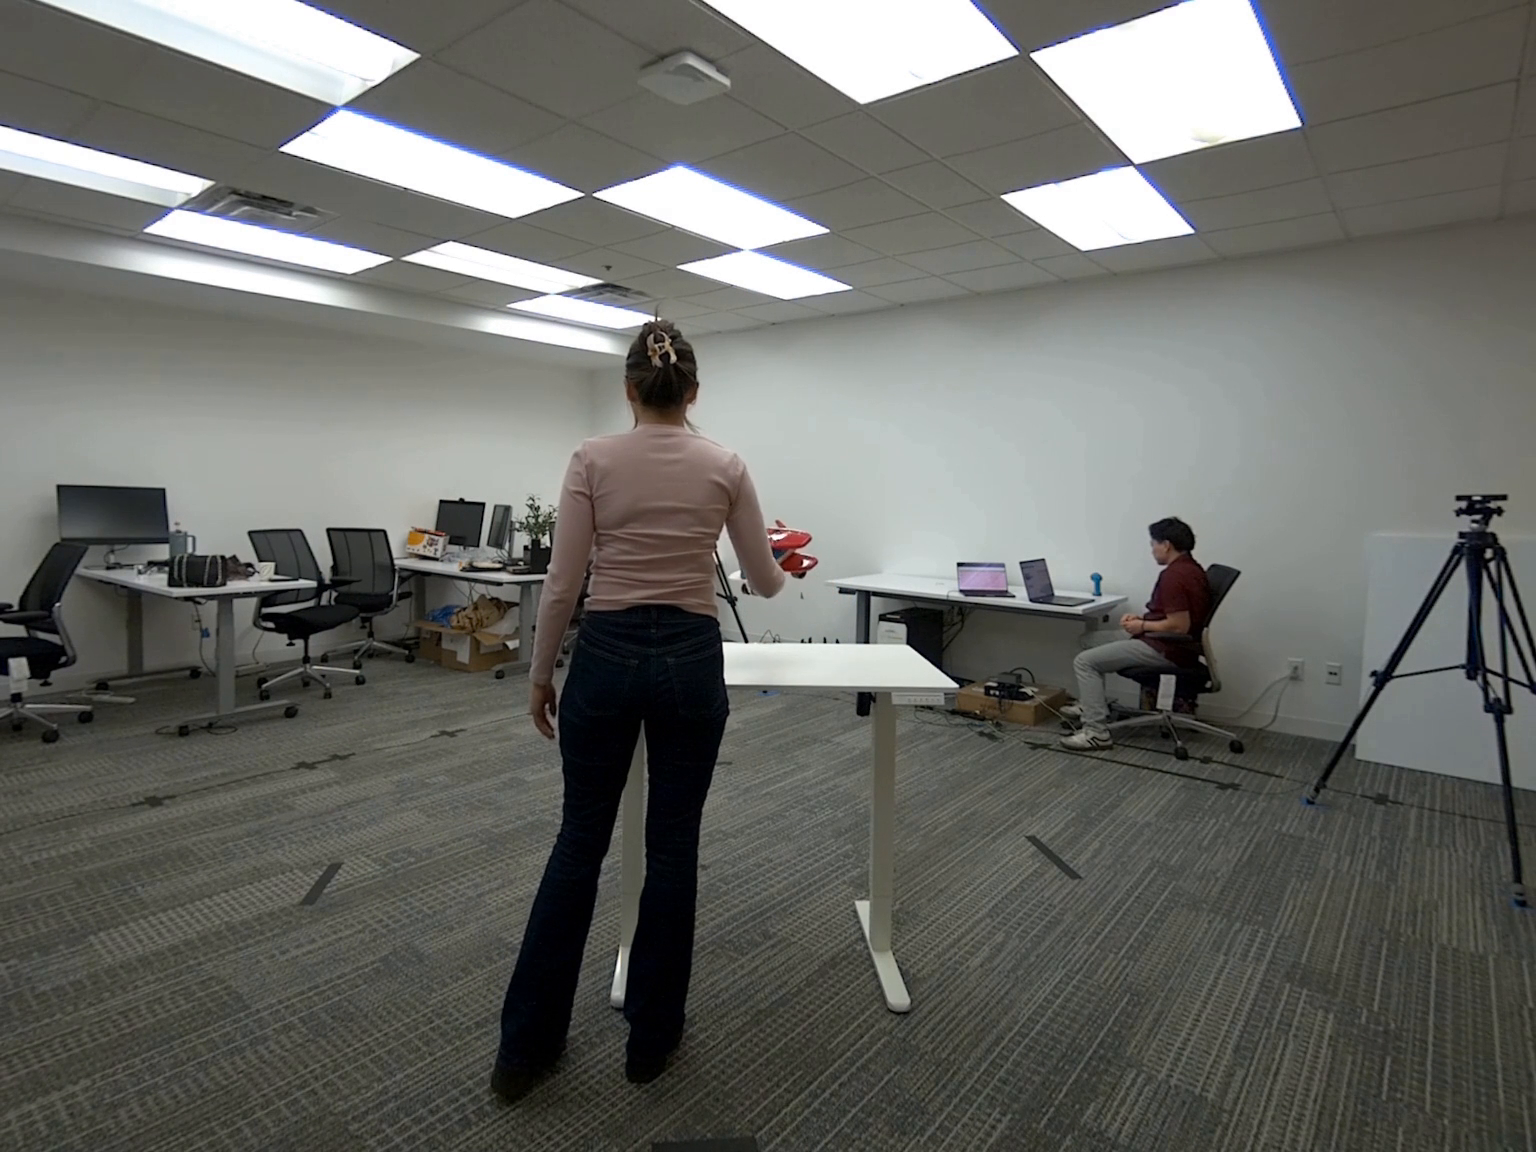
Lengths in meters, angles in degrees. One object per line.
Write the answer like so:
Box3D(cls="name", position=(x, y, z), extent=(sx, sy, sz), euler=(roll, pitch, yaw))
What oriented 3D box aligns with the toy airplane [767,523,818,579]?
Box3D(cls="toy airplane", position=(0.011, -0.046, 2.476), extent=(0.254, 0.154, 0.260), euler=(-3, 18, 12))
